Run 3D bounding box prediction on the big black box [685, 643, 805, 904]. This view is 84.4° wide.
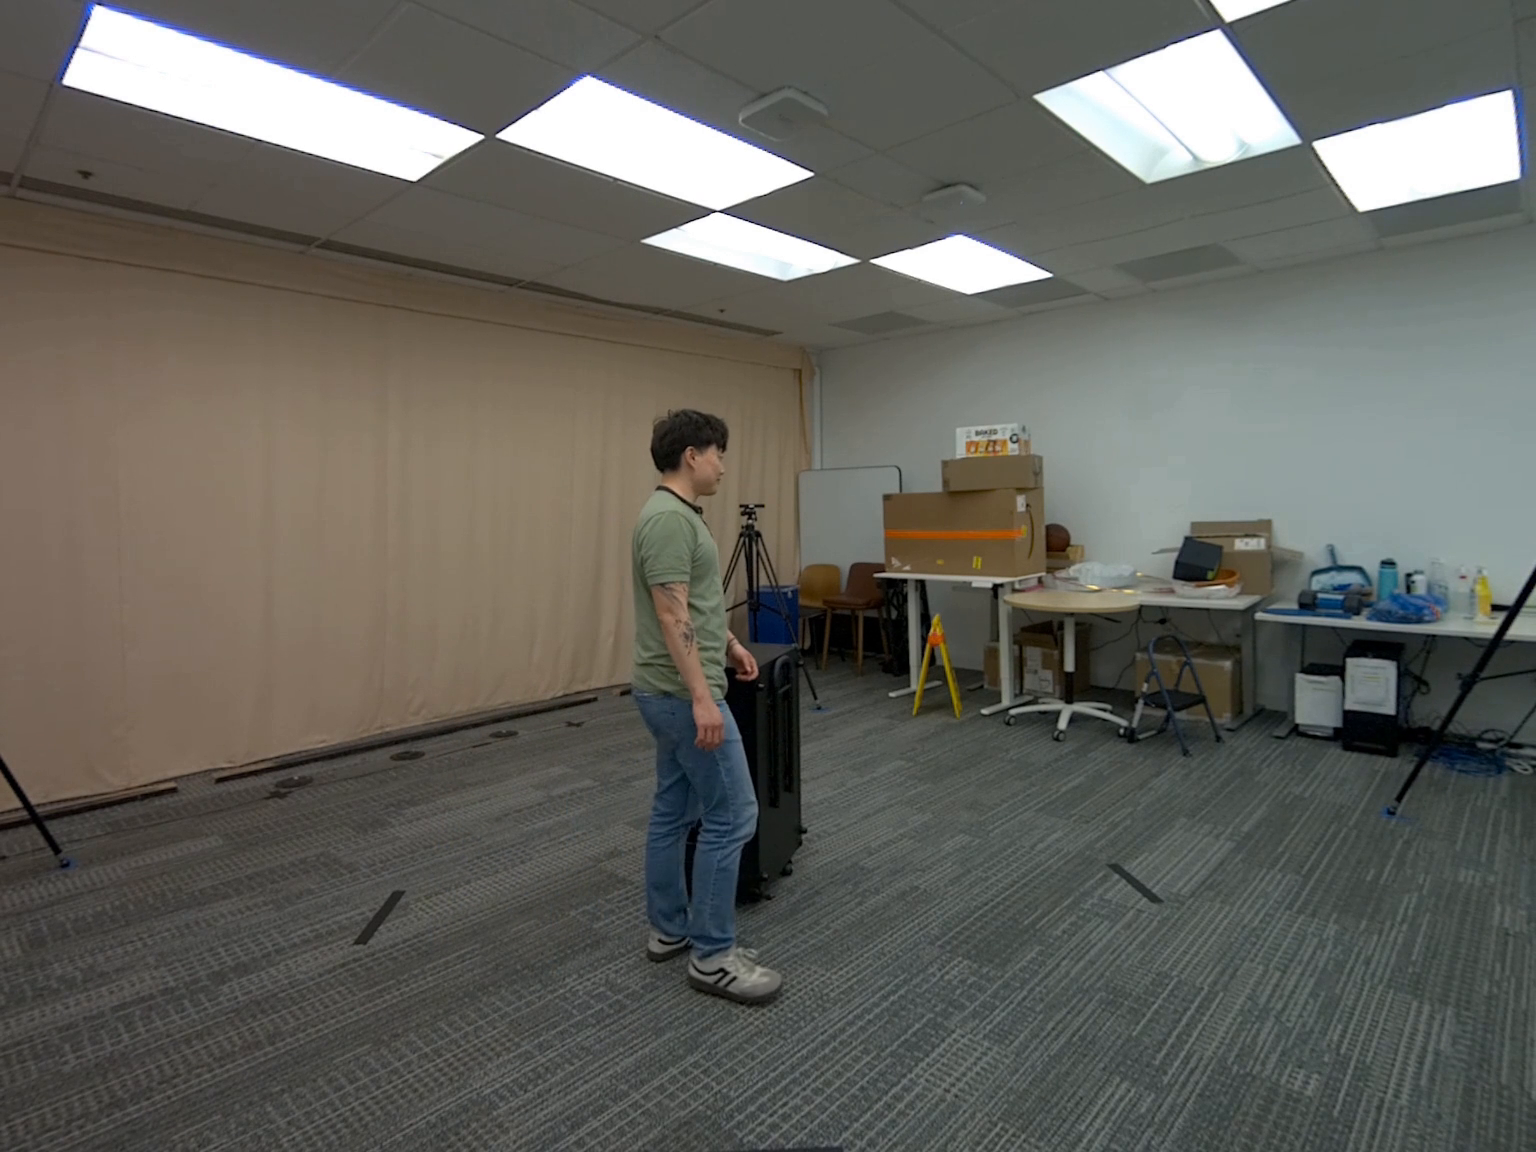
[{"bbox_3d":[-0.099,0.707,3.097,0.405,0.859,0.511,1,4,21],"label":"big black box"}]
